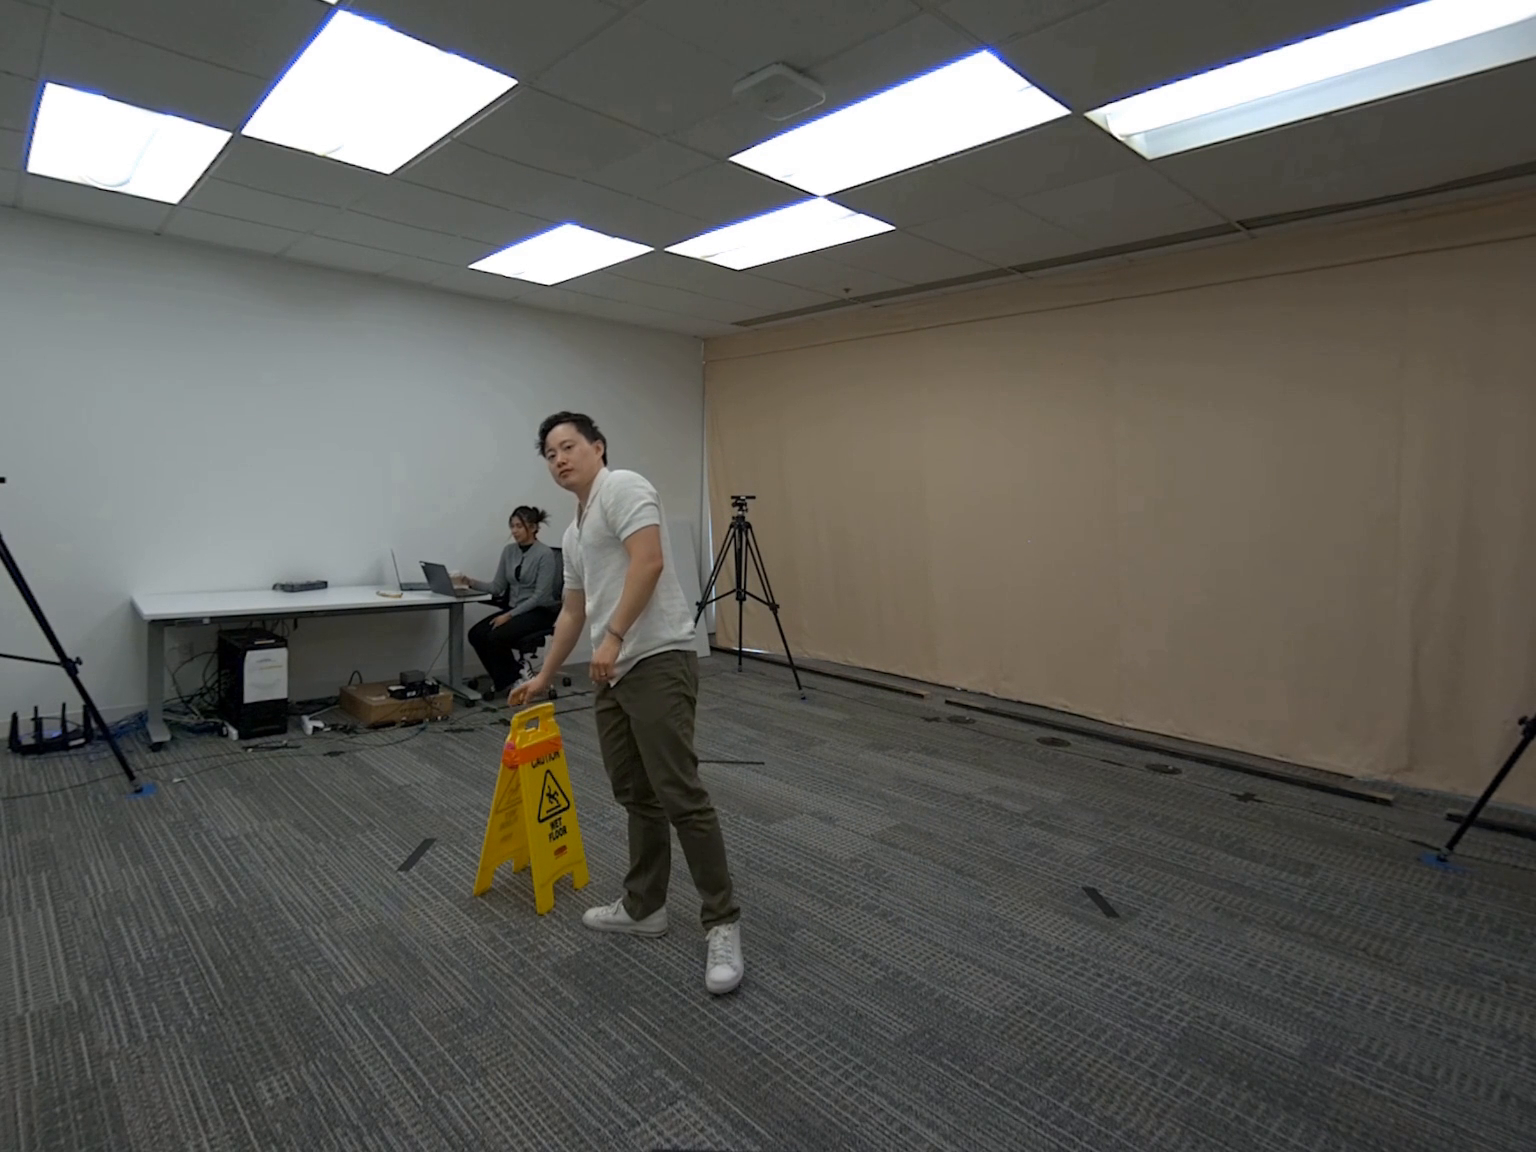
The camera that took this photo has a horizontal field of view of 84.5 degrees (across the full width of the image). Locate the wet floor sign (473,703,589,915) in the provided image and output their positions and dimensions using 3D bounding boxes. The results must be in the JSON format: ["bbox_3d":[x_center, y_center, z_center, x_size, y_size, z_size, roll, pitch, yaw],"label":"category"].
[{"bbox_3d":[-0.827,0.783,2.934,0.295,0.644,0.278,3,5,25],"label":"wet floor sign"}]
